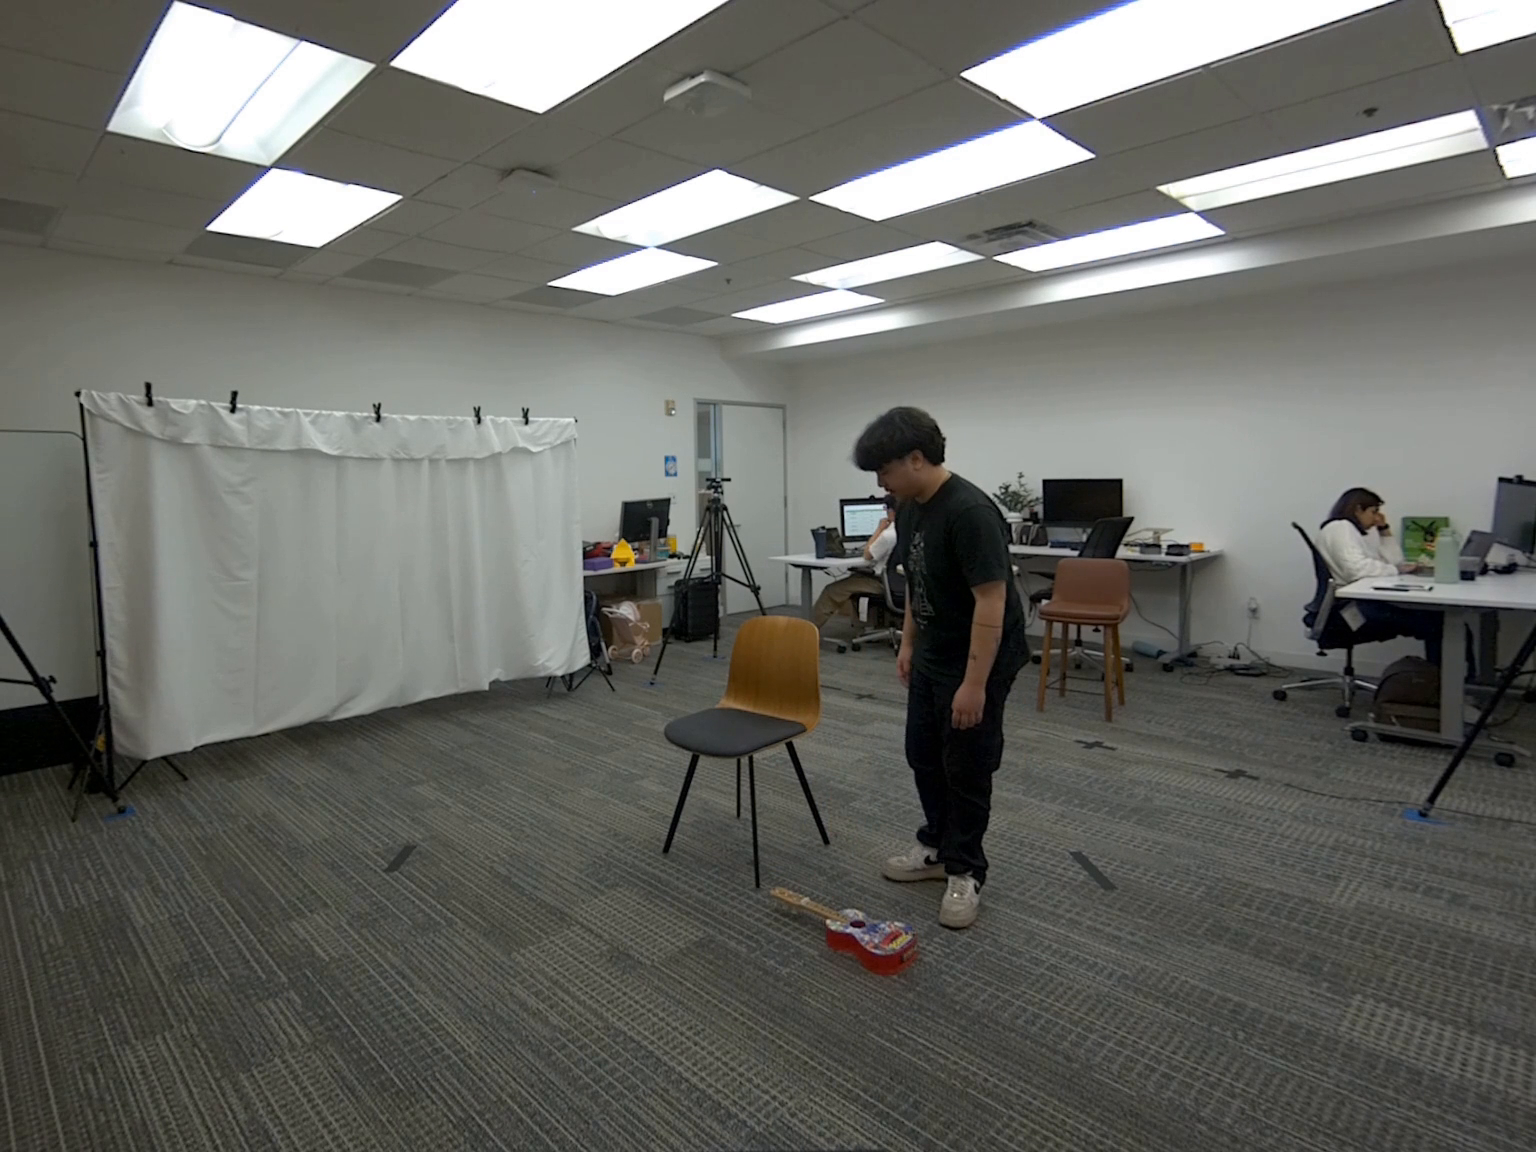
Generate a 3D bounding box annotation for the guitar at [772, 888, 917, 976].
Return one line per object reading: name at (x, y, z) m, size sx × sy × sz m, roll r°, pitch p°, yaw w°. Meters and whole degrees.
guitar at (0.237, 1.063, 2.616) m, size 0.188 × 0.070 × 0.513 m, roll -7°, pitch 10°, yaw -40°
